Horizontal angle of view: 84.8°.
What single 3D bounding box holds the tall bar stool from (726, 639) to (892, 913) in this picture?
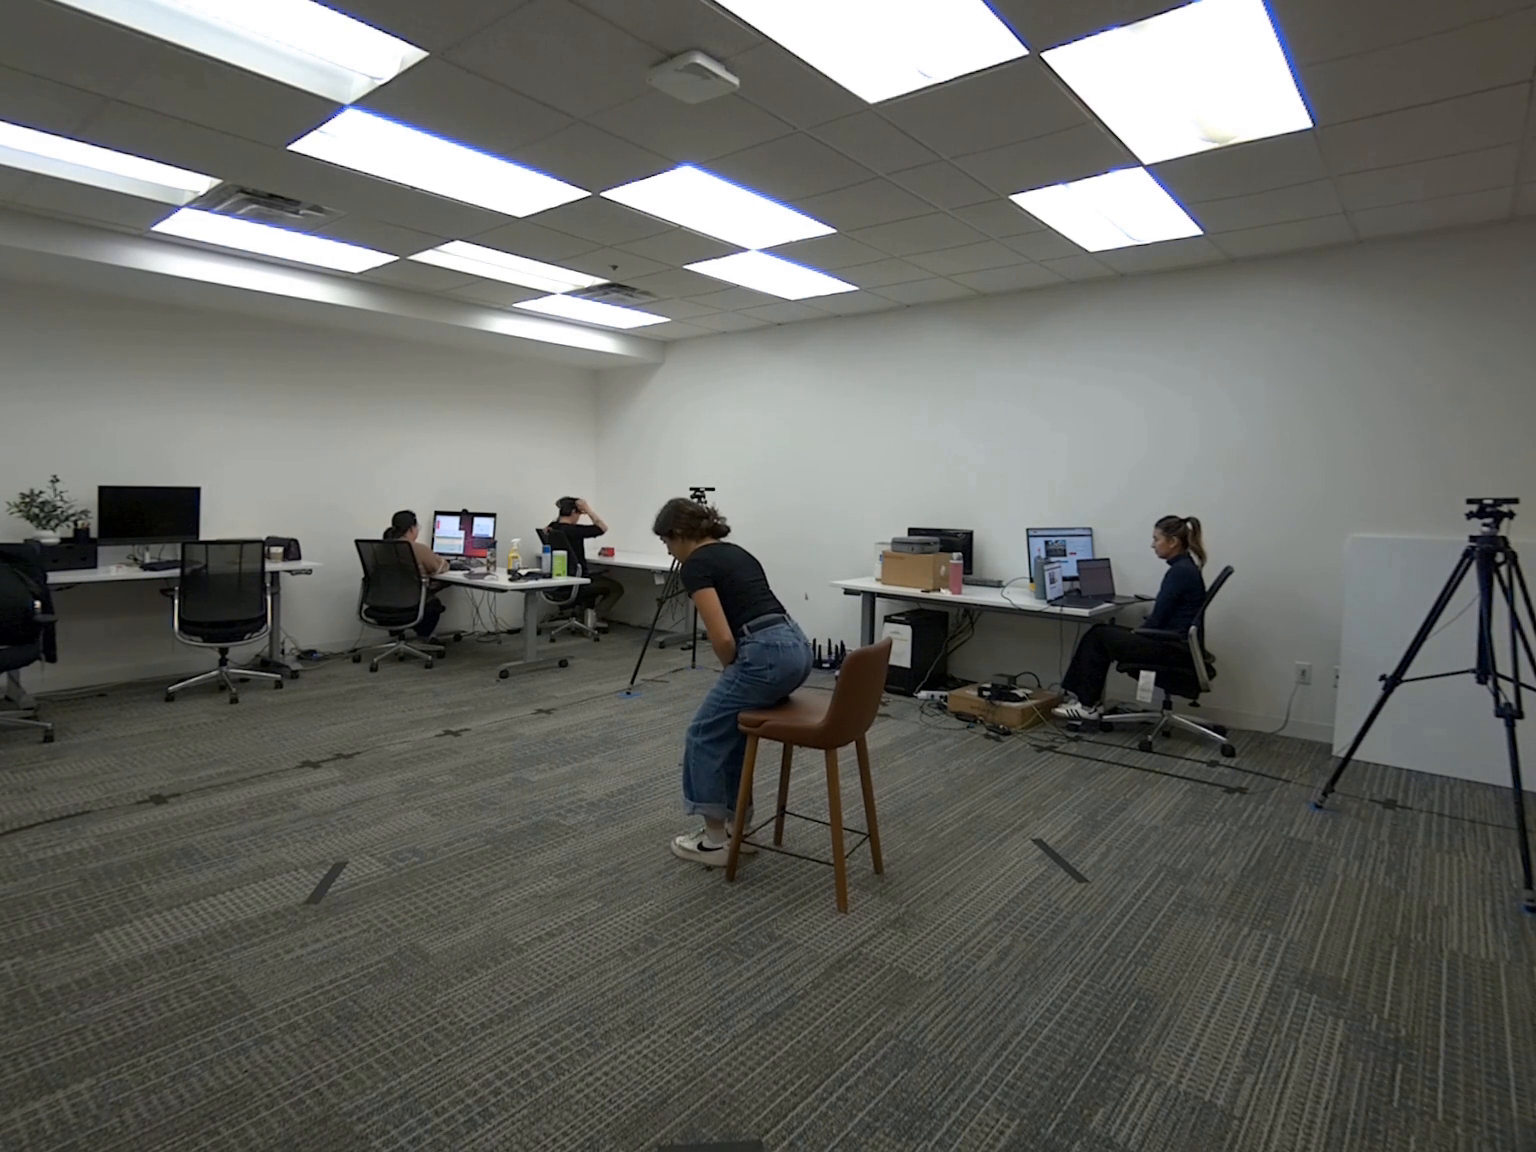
[{"bbox_3d":[0.150,0.648,3.041,0.481,0.887,0.445,5,4,29],"label":"tall bar stool"}]
